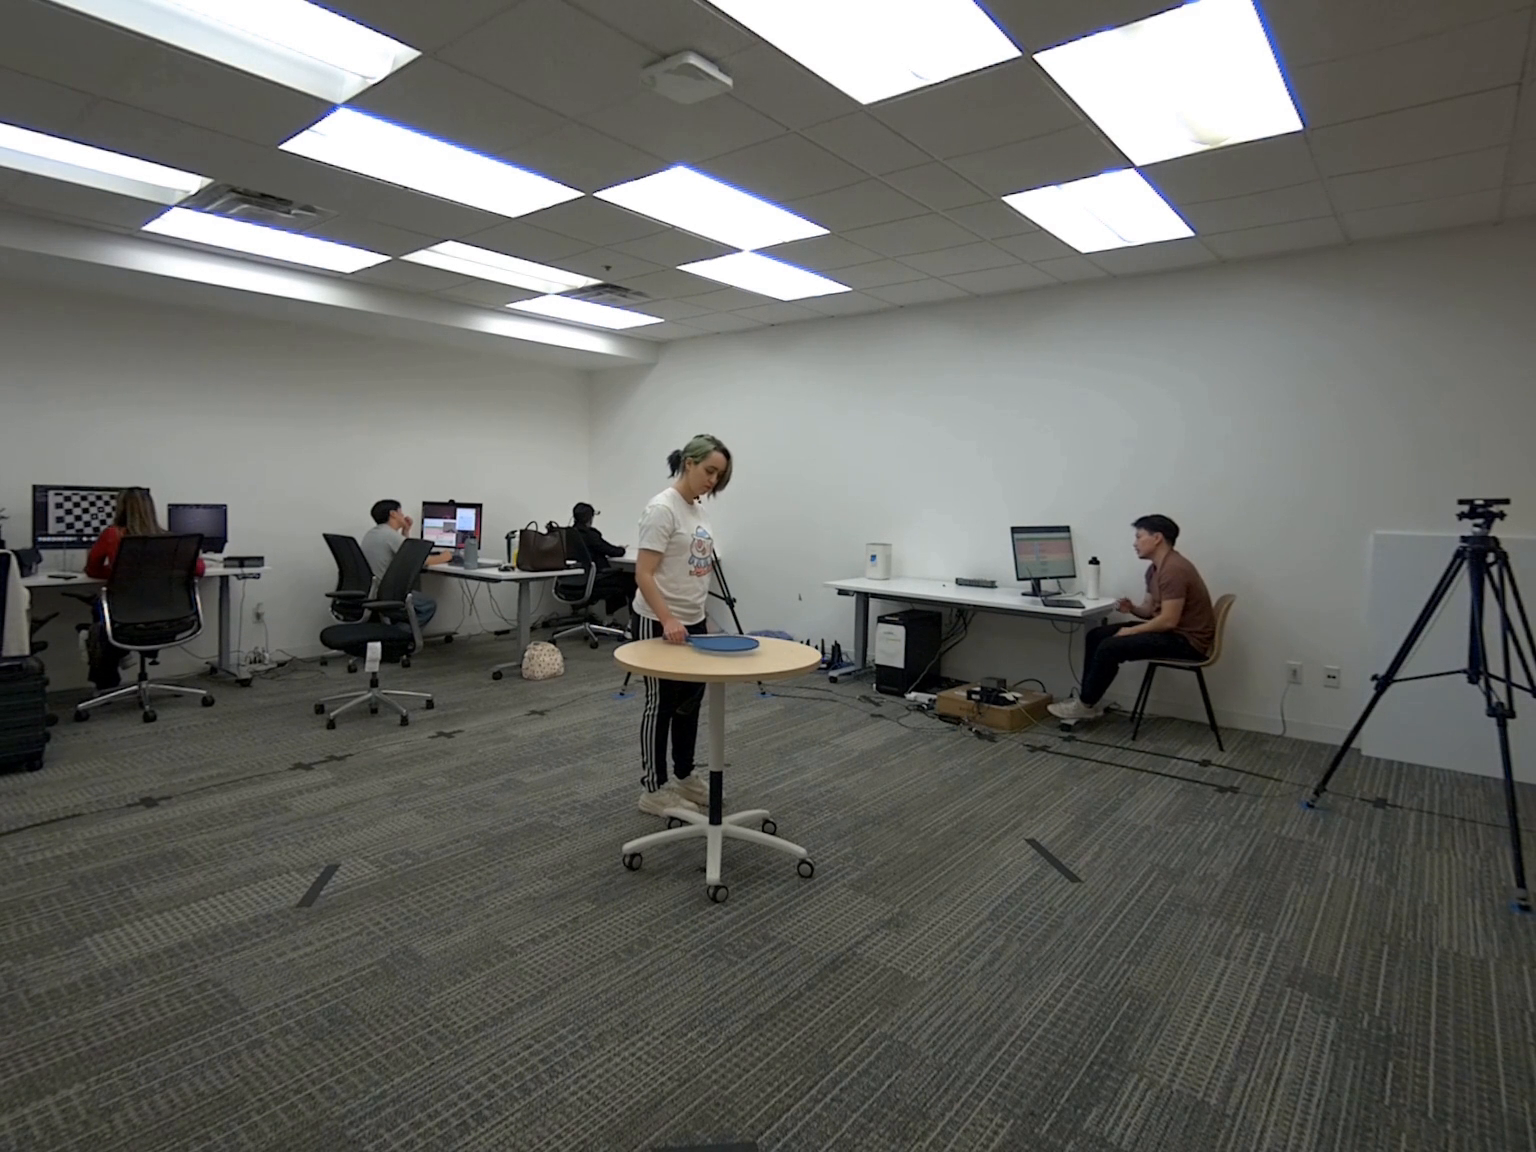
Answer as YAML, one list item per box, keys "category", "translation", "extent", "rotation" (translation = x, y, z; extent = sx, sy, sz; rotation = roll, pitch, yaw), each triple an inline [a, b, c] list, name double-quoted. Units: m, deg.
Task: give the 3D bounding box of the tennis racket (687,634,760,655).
- category: "tennis racket"
  translation: [-0.230, 0.247, 3.238]
  extent: [0.447, 0.031, 0.208]
  rotation: [5, 10, 41]
